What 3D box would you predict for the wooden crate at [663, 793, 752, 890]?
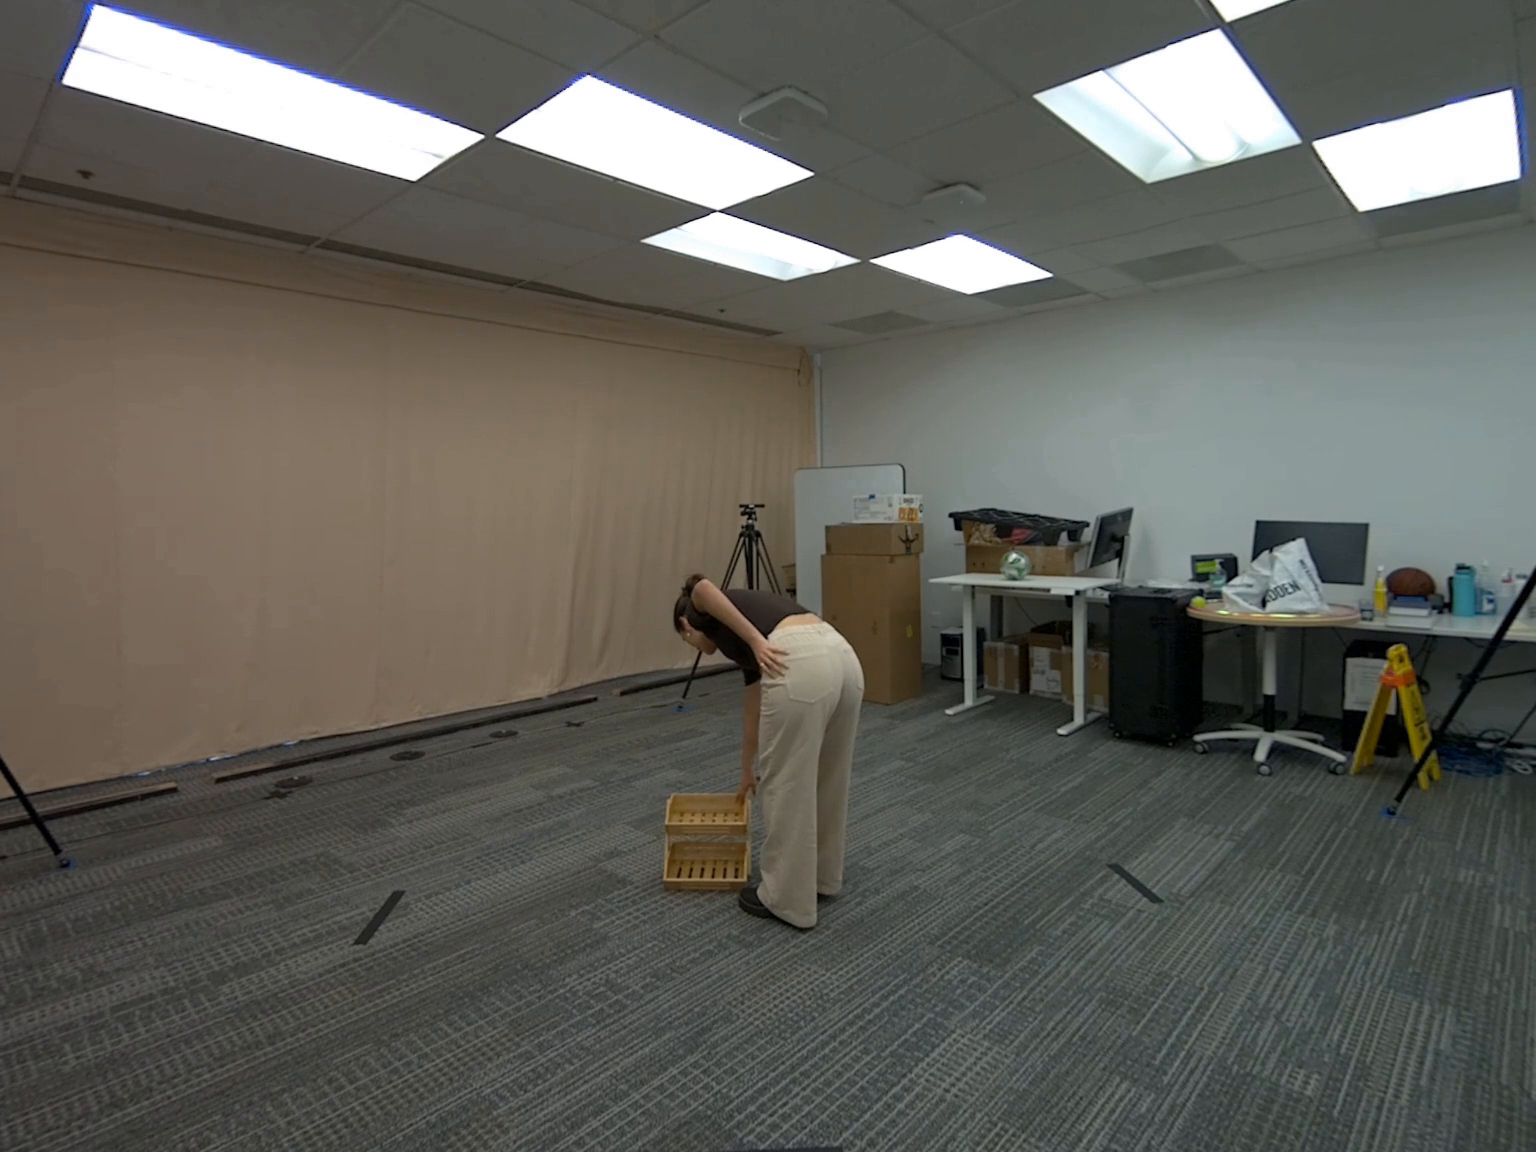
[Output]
[{"bbox_3d":[-0.225,0.995,3.159,0.325,0.273,0.302,-1,4,2],"label":"wooden crate"}]
